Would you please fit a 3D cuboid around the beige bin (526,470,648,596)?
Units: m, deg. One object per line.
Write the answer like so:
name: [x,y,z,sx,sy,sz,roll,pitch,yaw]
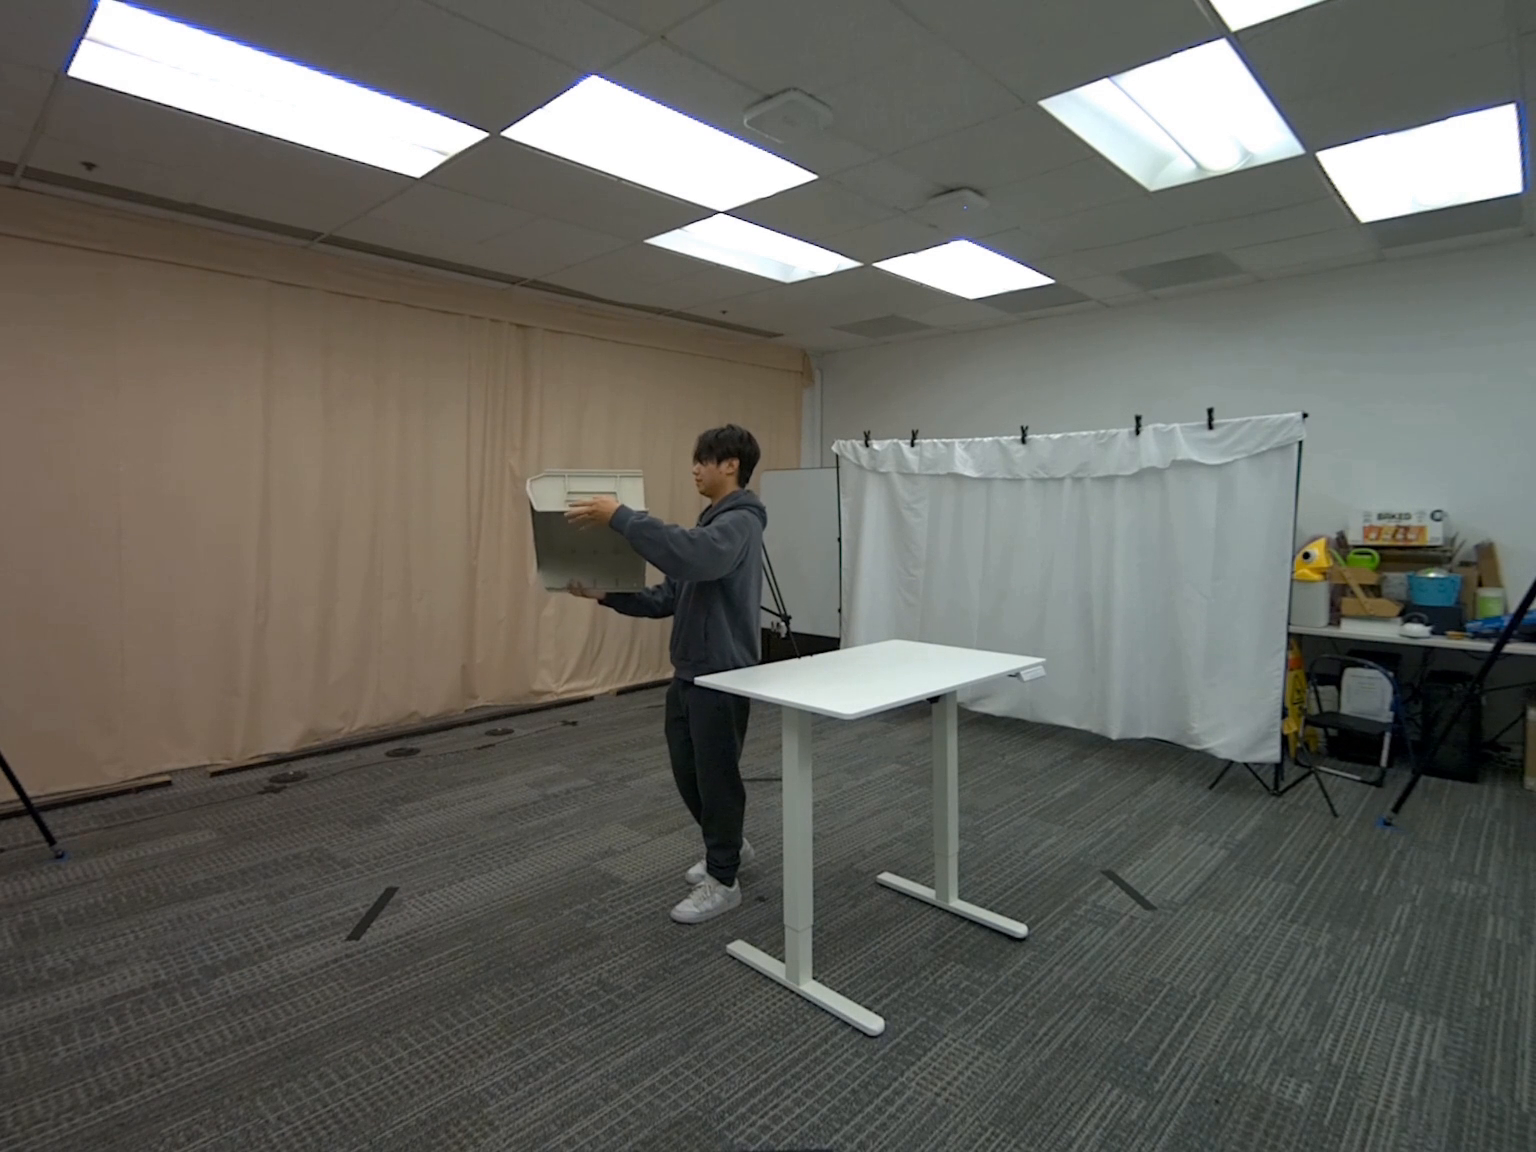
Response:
beige bin: [-0.592,-0.139,2.789,0.374,0.193,0.416,-1,-39,-9]
